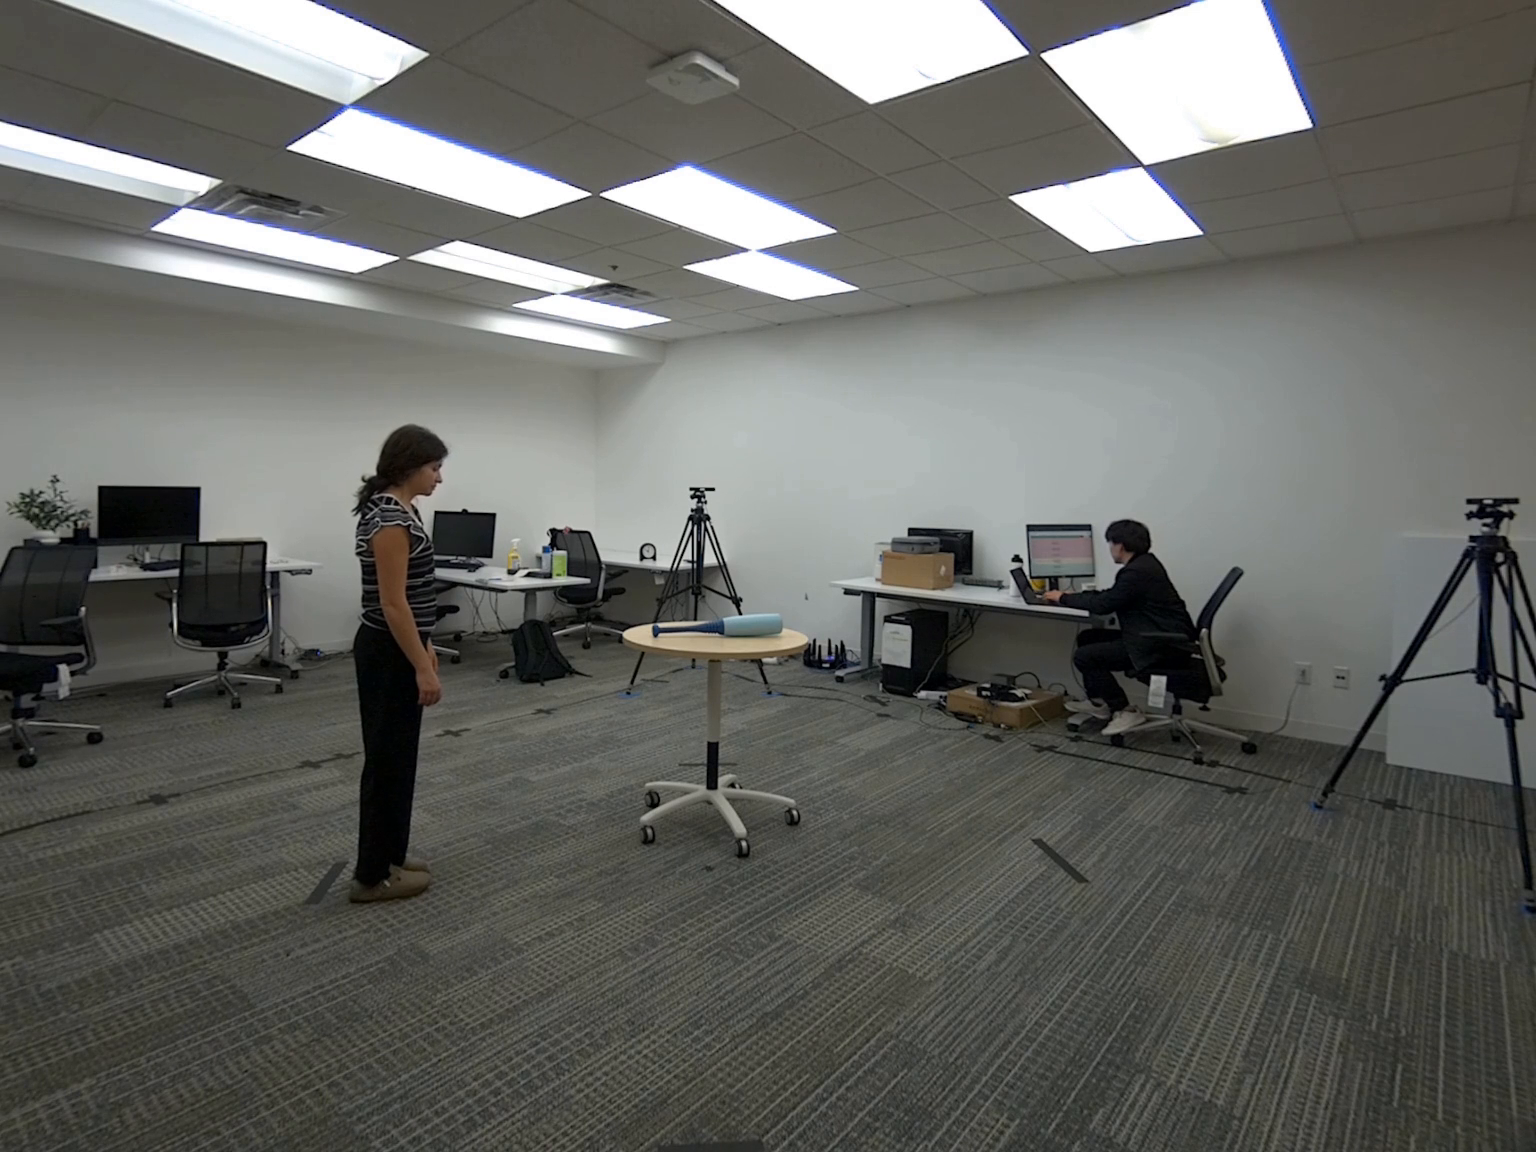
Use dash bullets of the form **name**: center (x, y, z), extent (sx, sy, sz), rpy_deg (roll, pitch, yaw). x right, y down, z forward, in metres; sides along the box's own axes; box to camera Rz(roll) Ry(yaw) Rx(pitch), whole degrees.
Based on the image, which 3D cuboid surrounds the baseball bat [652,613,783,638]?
- **baseball bat**: center (-0.228, 0.206, 3.492), extent (0.537, 0.089, 0.090), rpy_deg (-2, 5, -11)
